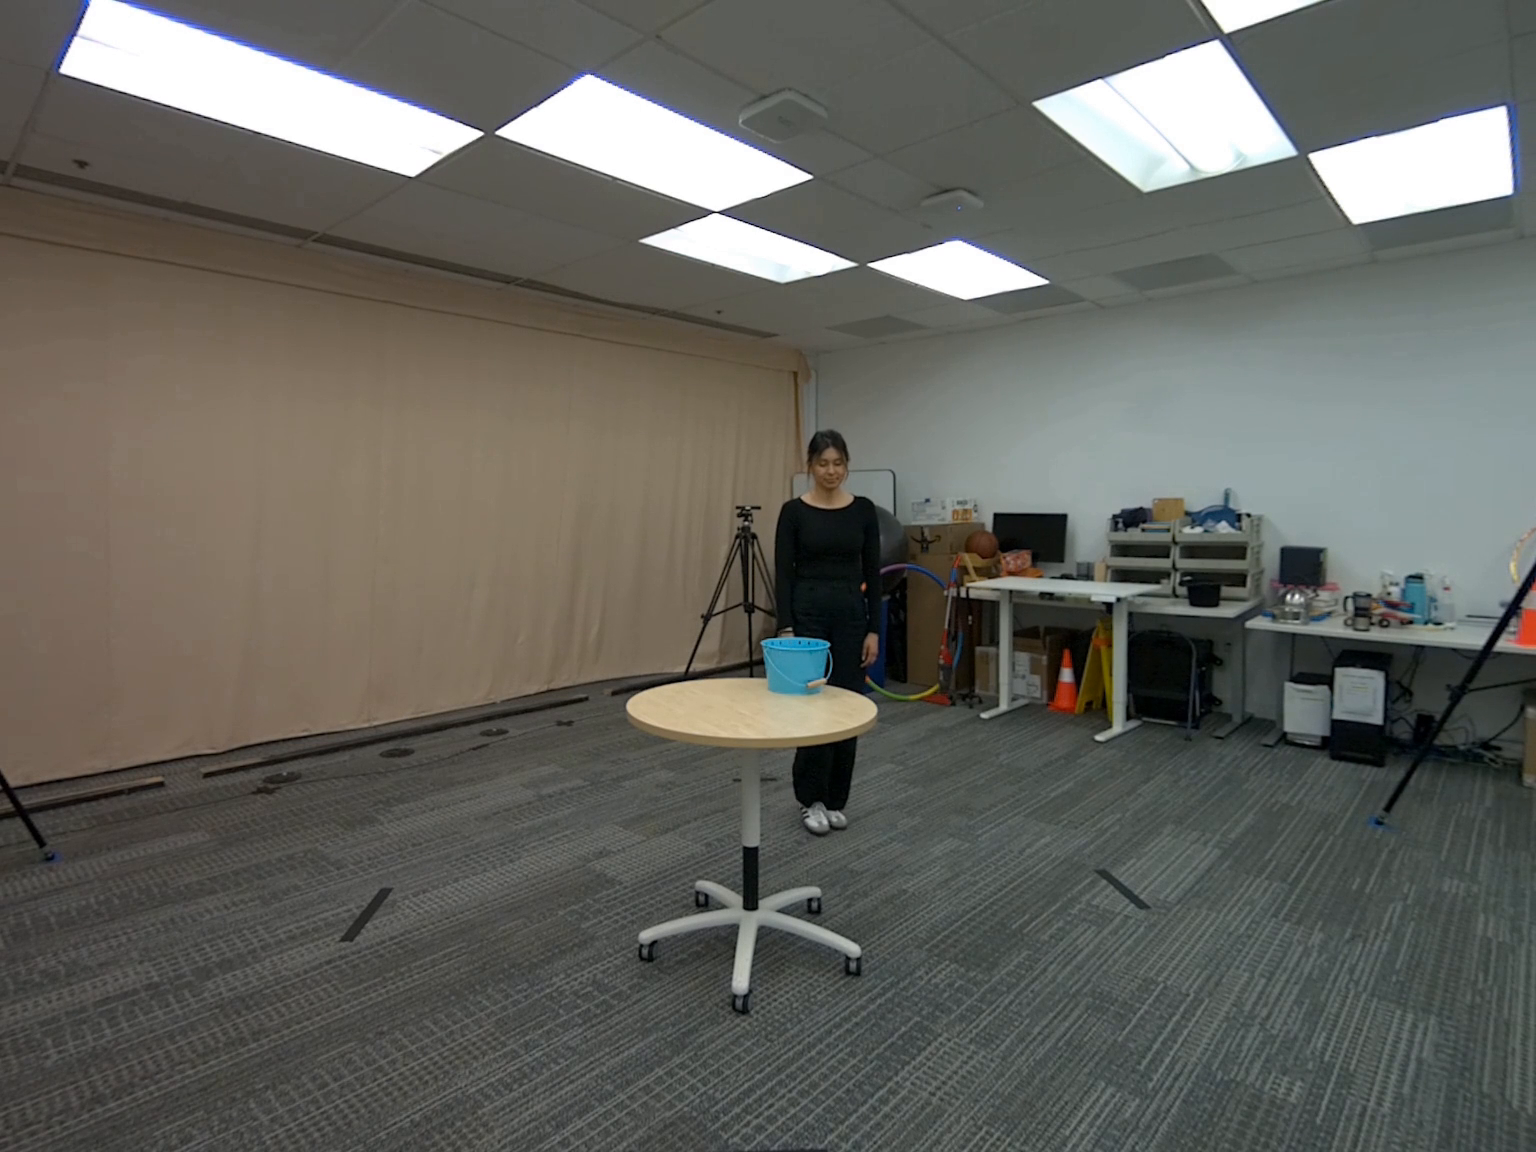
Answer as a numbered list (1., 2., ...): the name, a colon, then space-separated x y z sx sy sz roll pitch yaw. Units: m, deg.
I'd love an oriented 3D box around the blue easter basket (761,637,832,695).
1. blue easter basket: 0.093 0.305 2.803 0.243 0.156 0.244 -1 2 -2
